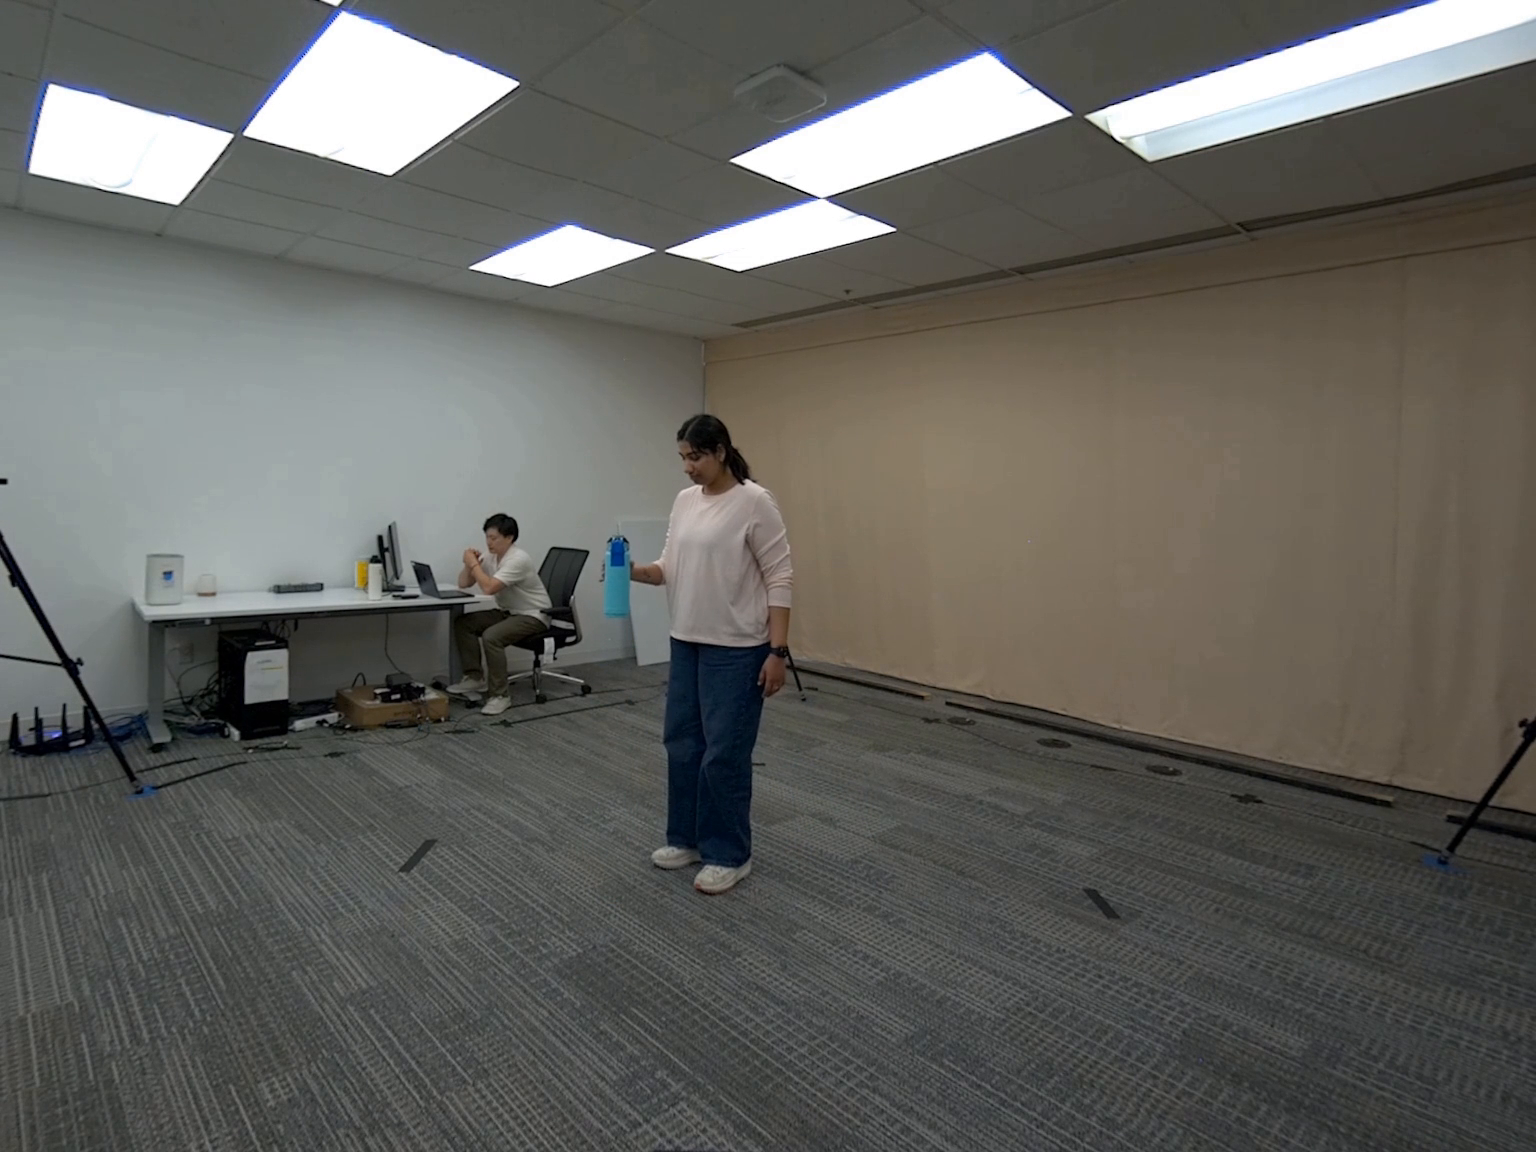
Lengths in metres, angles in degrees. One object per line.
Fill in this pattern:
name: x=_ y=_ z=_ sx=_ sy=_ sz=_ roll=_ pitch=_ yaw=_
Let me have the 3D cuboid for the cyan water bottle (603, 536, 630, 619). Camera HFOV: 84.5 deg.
cyan water bottle: x=-0.531 y=0.005 z=2.919 sx=0.092 sy=0.282 sz=0.093 roll=1 pitch=5 yaw=-1
